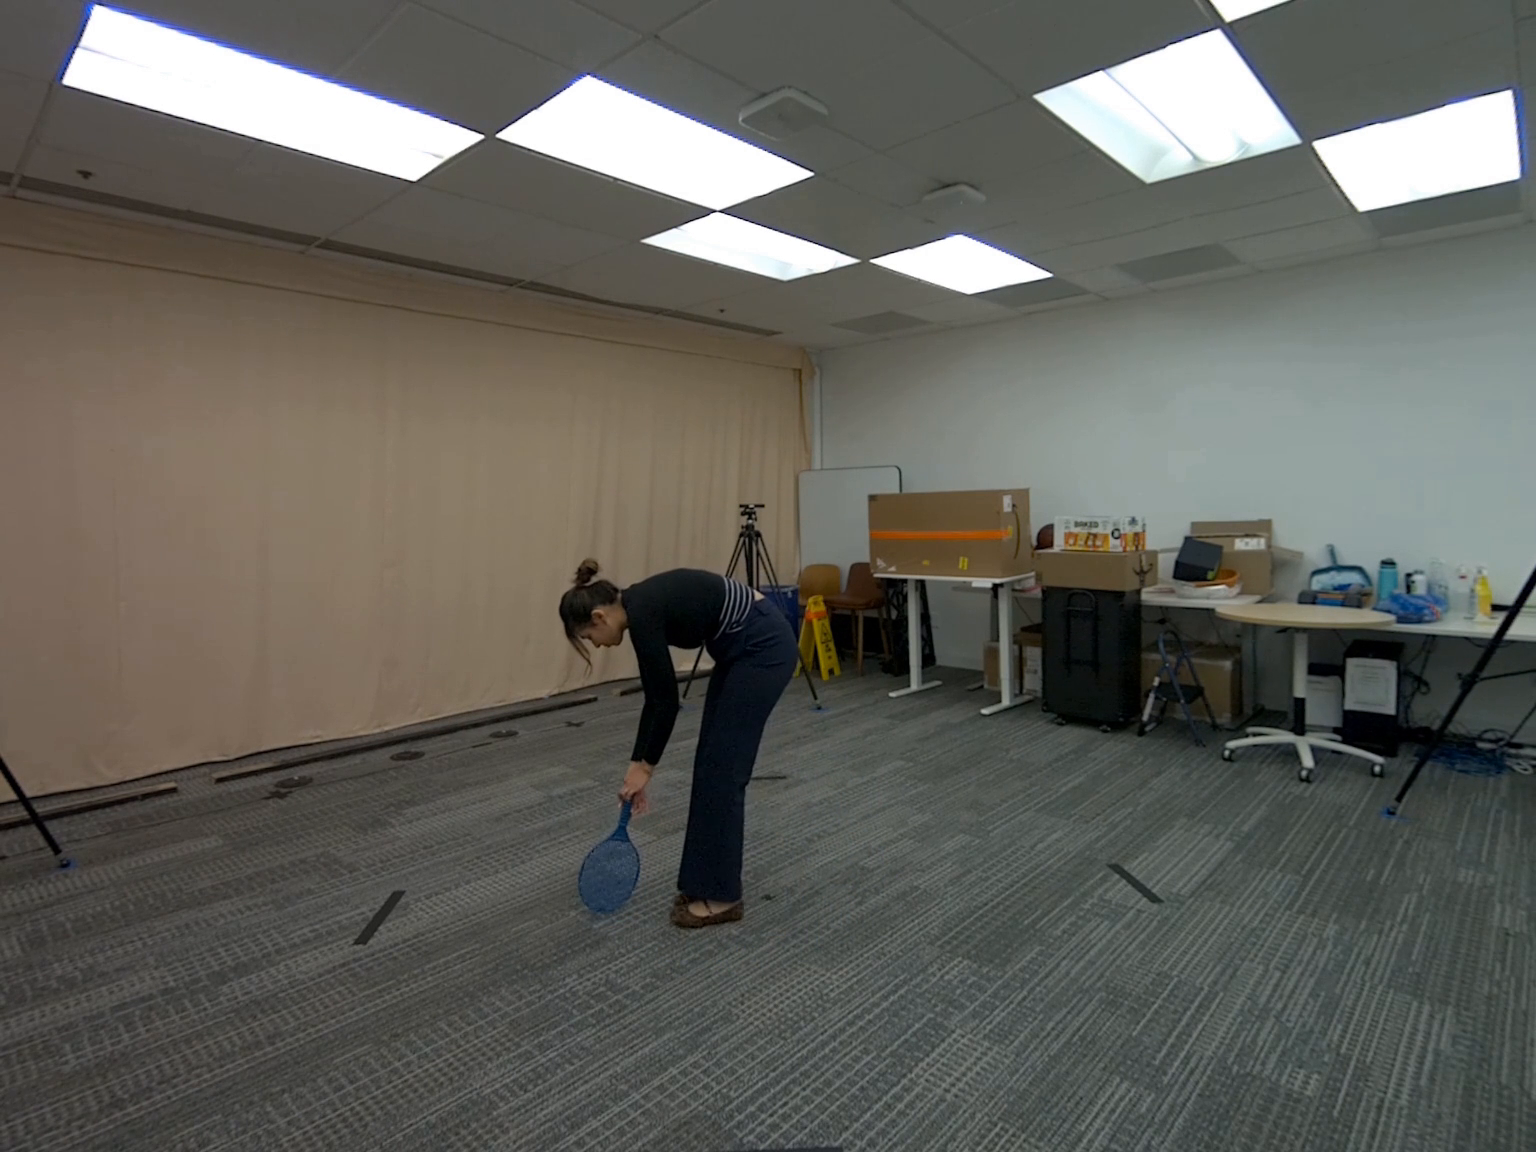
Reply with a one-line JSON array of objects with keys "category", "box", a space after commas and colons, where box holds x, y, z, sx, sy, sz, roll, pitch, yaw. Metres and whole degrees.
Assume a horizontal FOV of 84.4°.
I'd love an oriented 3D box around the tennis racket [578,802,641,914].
[{"category": "tennis racket", "box": [-0.515, 0.957, 2.898, 0.209, 0.433, 0.032, 20, 1, -19]}]
